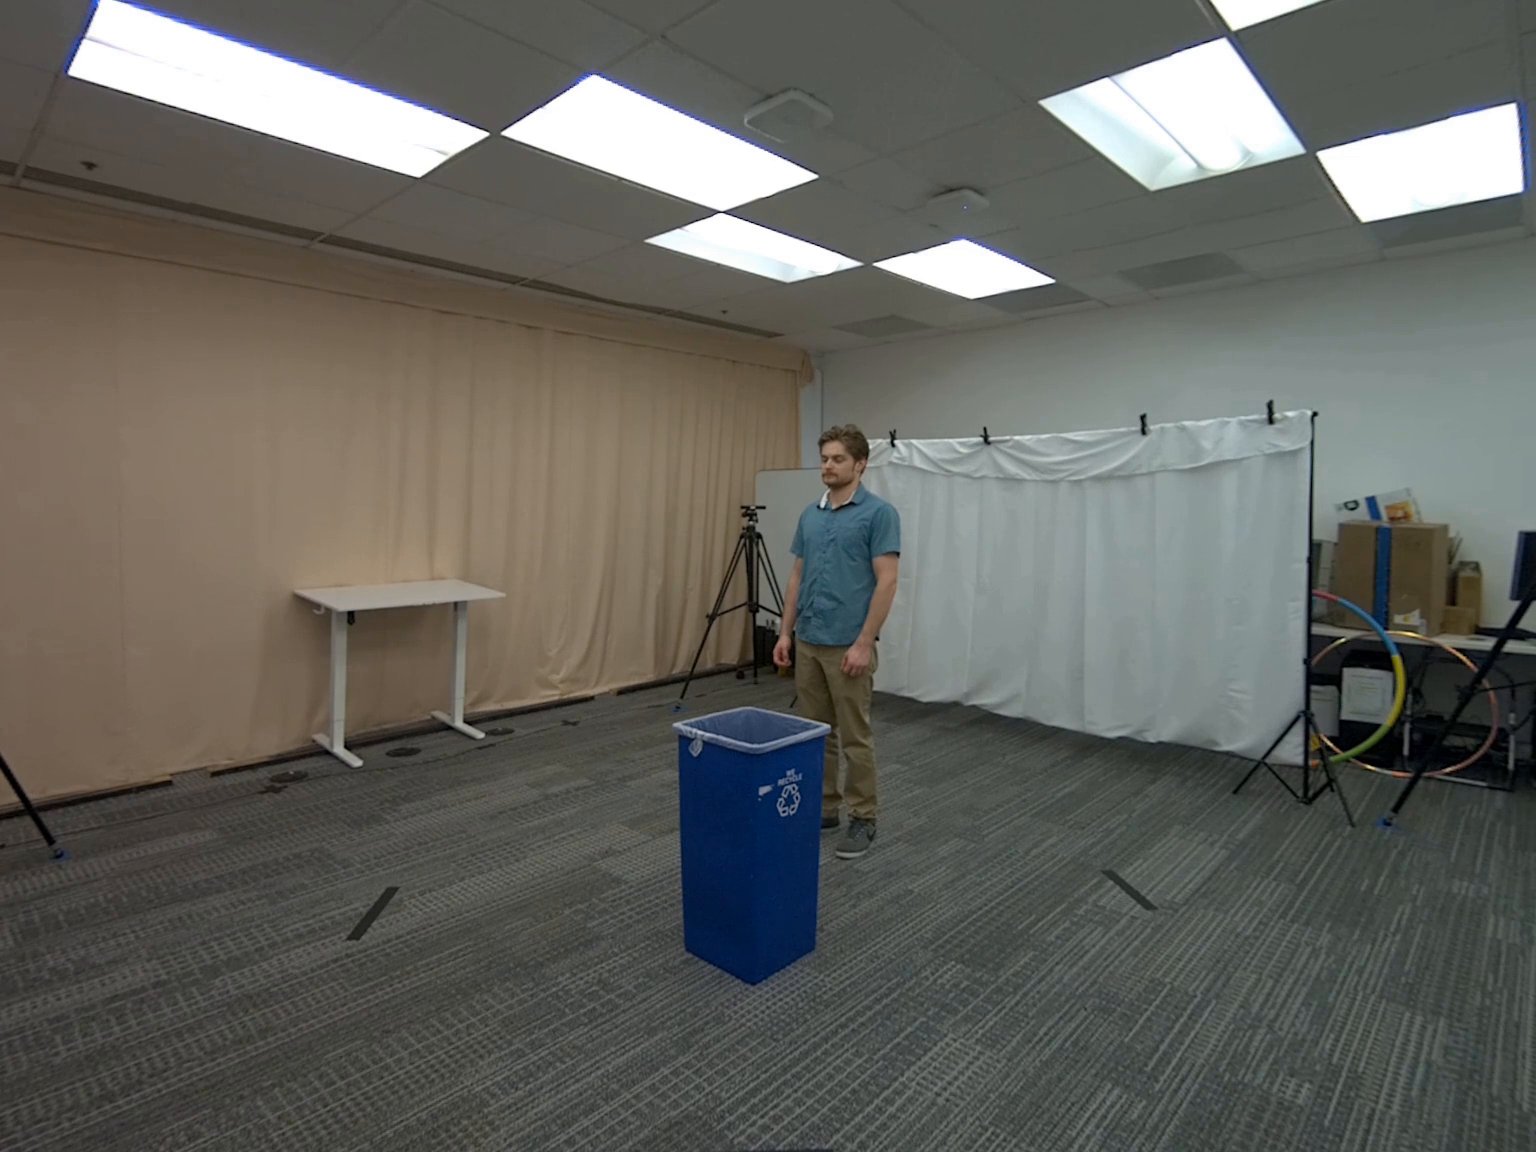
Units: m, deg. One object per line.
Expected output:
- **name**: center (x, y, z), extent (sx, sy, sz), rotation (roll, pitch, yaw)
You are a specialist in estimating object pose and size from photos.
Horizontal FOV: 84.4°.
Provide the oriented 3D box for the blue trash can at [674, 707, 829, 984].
- **blue trash can**: center (-0.059, 0.819, 2.629), extent (0.387, 0.712, 0.366), rotation (5, 5, 41)
